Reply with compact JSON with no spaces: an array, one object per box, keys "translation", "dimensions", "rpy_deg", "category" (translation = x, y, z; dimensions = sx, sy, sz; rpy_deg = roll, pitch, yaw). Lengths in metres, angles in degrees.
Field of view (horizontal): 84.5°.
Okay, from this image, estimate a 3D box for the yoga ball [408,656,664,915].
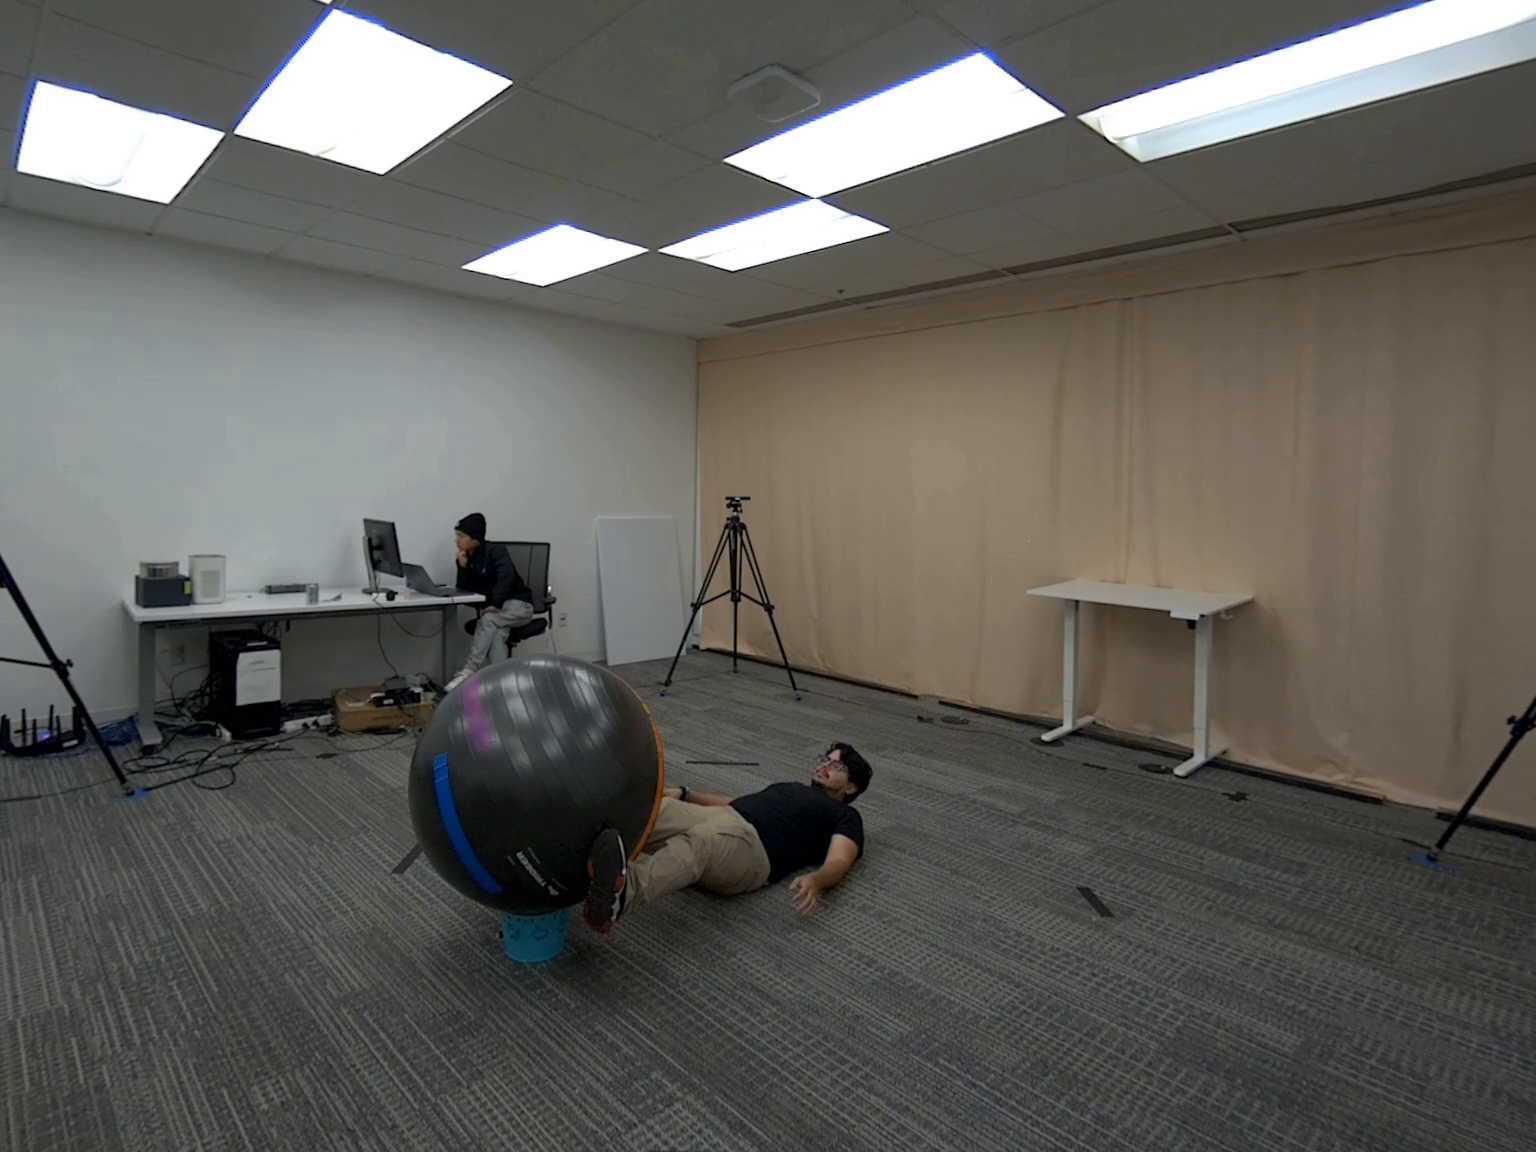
[{"translation":[-0.702,0.622,2.568],"dimensions":[0.757,0.756,0.761],"rpy_deg":[1,4,-1],"category":"yoga ball"}]
